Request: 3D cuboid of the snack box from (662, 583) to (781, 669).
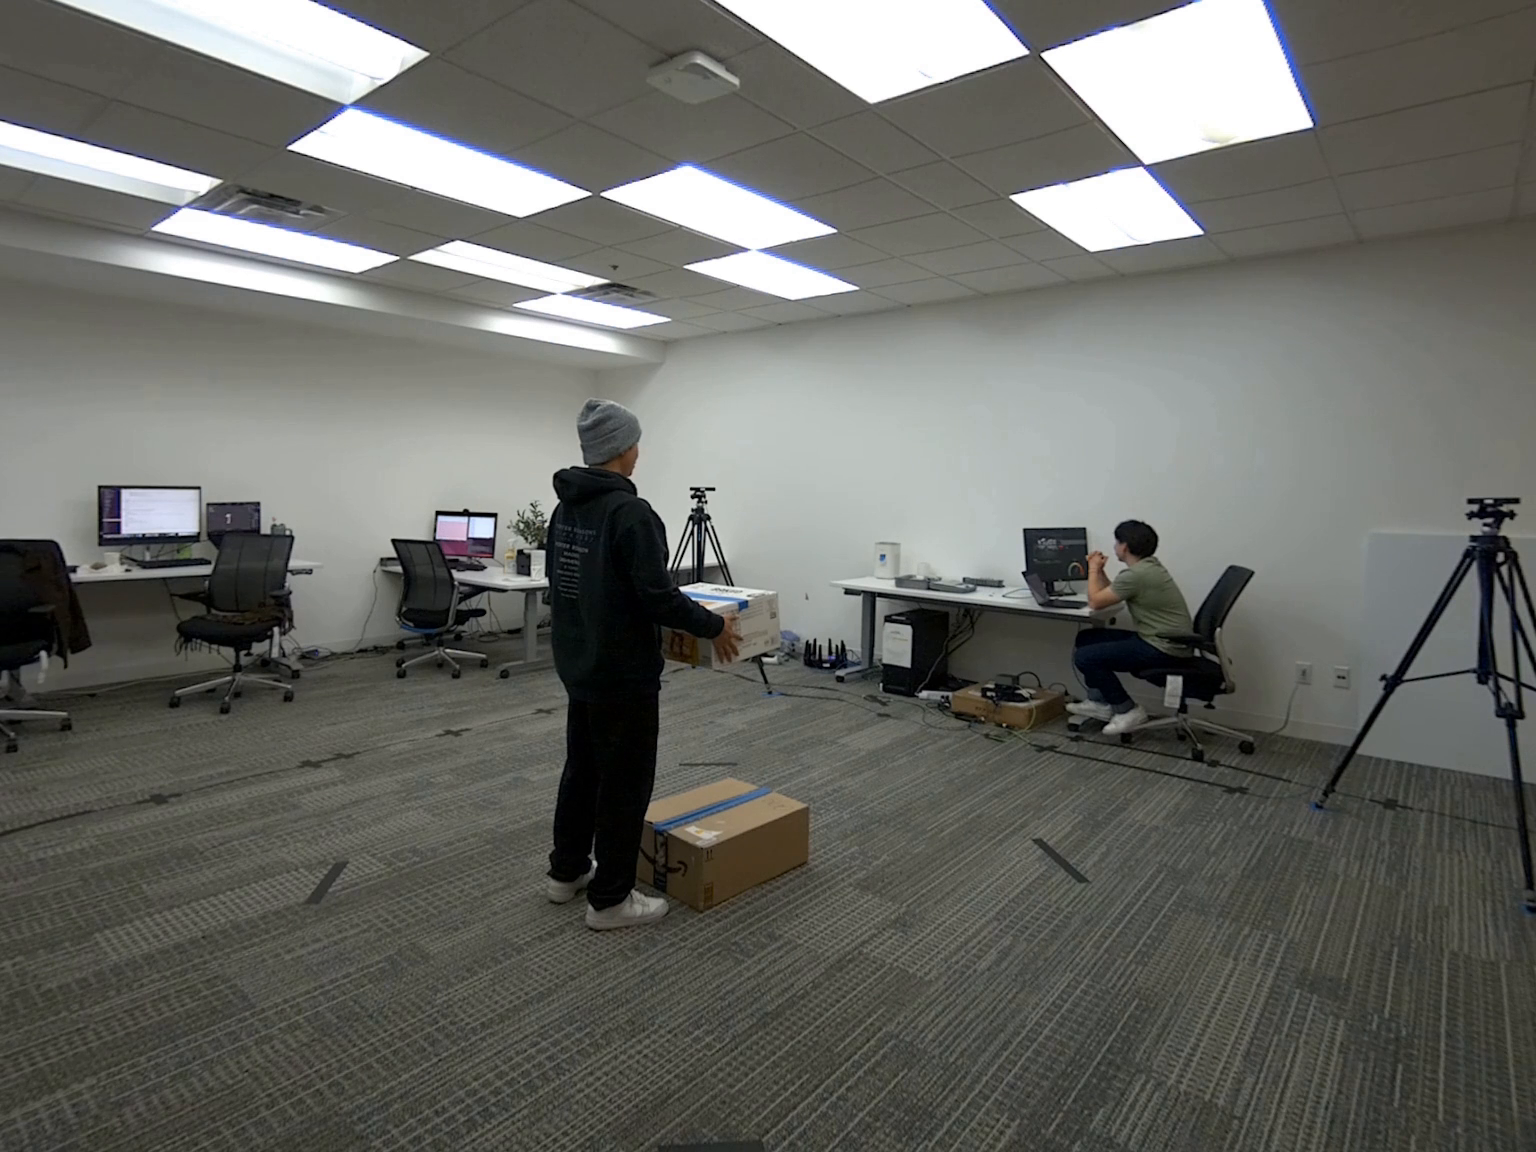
[{"bbox_3d":[-0.231,0.166,3.037,0.419,0.204,0.332,5,13,44],"label":"snack box"}]
